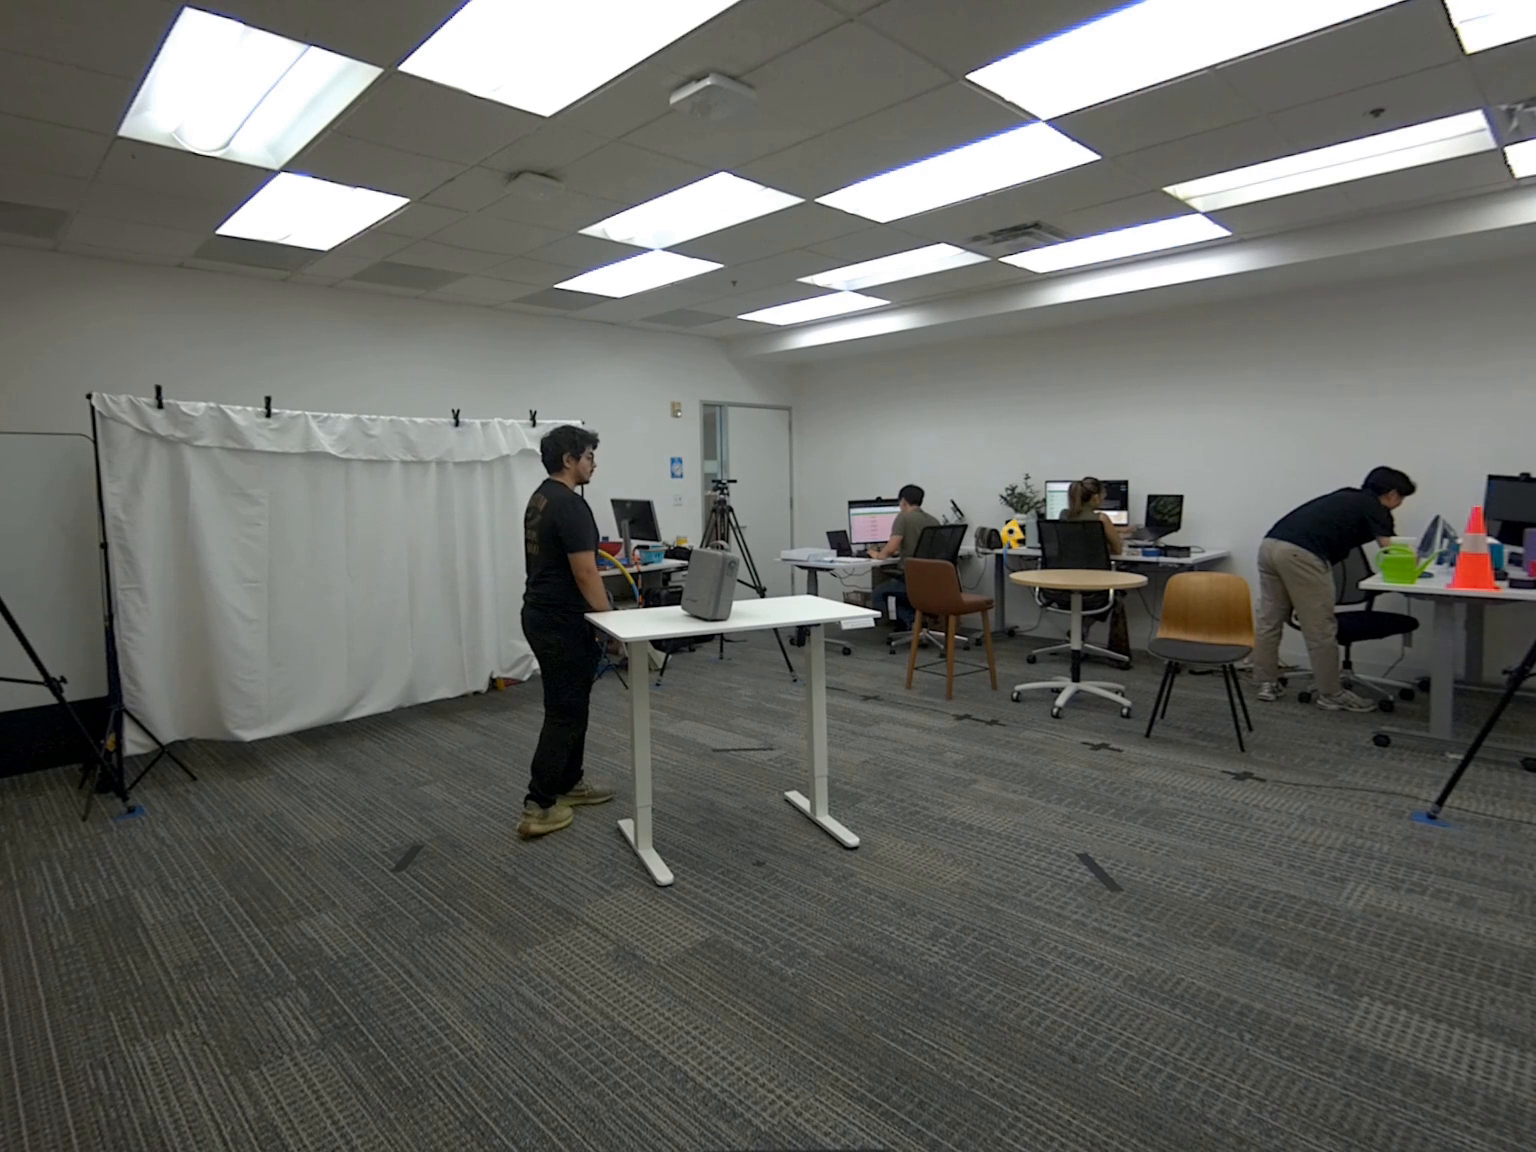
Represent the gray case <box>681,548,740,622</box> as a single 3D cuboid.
[{"bbox_3d":[-0.214,0.023,3.216,0.102,0.261,0.263,10,-1,-27],"label":"gray case"}]
